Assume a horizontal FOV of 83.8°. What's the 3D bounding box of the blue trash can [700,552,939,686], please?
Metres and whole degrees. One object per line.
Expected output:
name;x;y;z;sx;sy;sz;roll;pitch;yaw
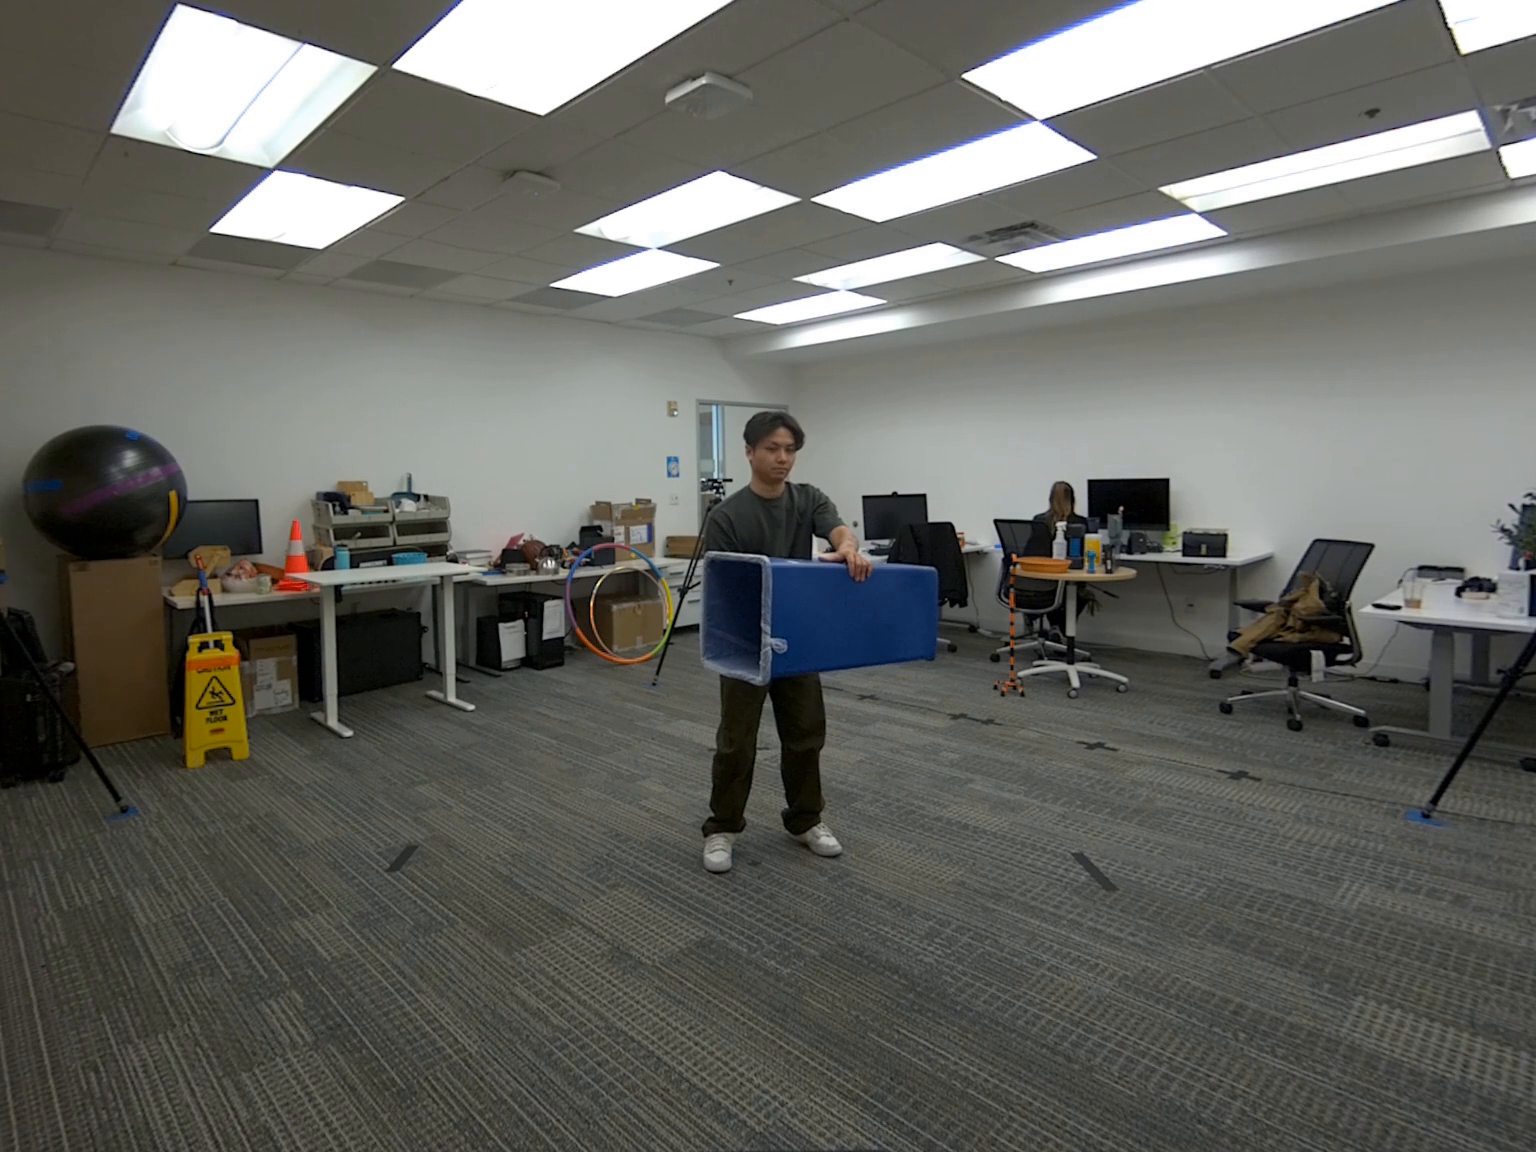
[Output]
blue trash can;0.188;0.127;2.775;0.695;0.374;0.388;1;1;-32
